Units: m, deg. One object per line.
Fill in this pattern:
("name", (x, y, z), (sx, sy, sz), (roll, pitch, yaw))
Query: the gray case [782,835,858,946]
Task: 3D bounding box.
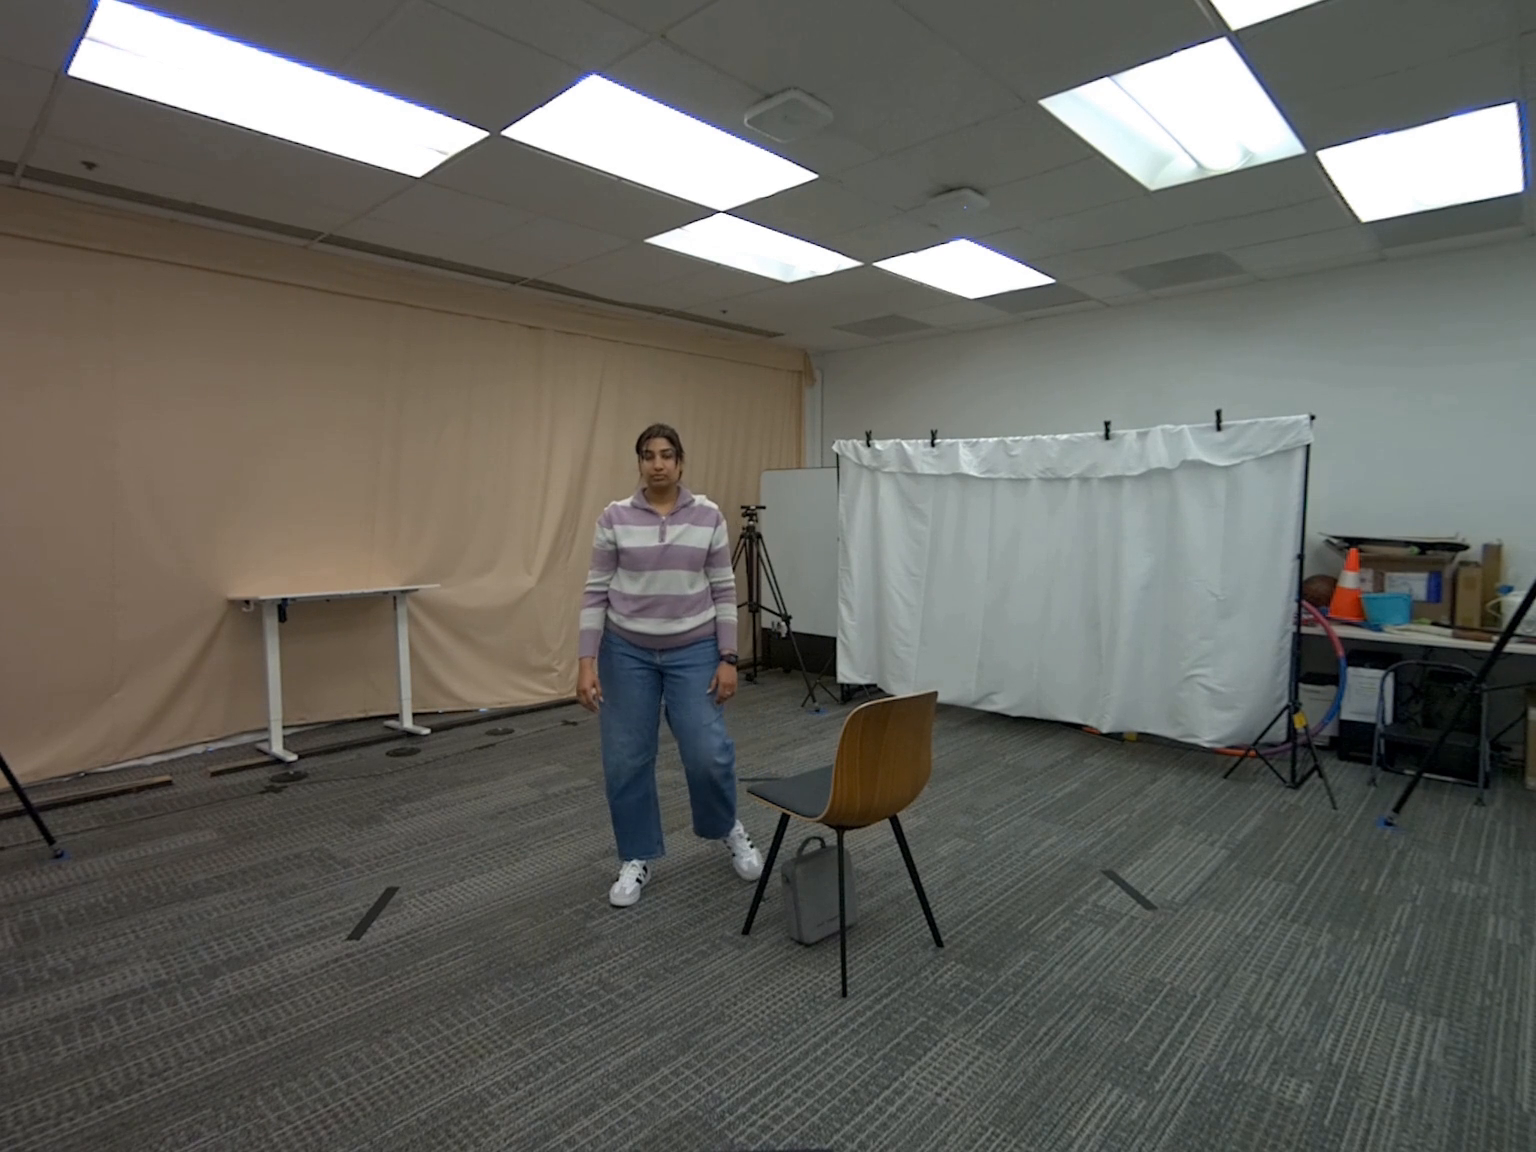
("gray case", (0.169, 1.036, 2.745), (0.249, 0.262, 0.107), (-3, -6, -40))
